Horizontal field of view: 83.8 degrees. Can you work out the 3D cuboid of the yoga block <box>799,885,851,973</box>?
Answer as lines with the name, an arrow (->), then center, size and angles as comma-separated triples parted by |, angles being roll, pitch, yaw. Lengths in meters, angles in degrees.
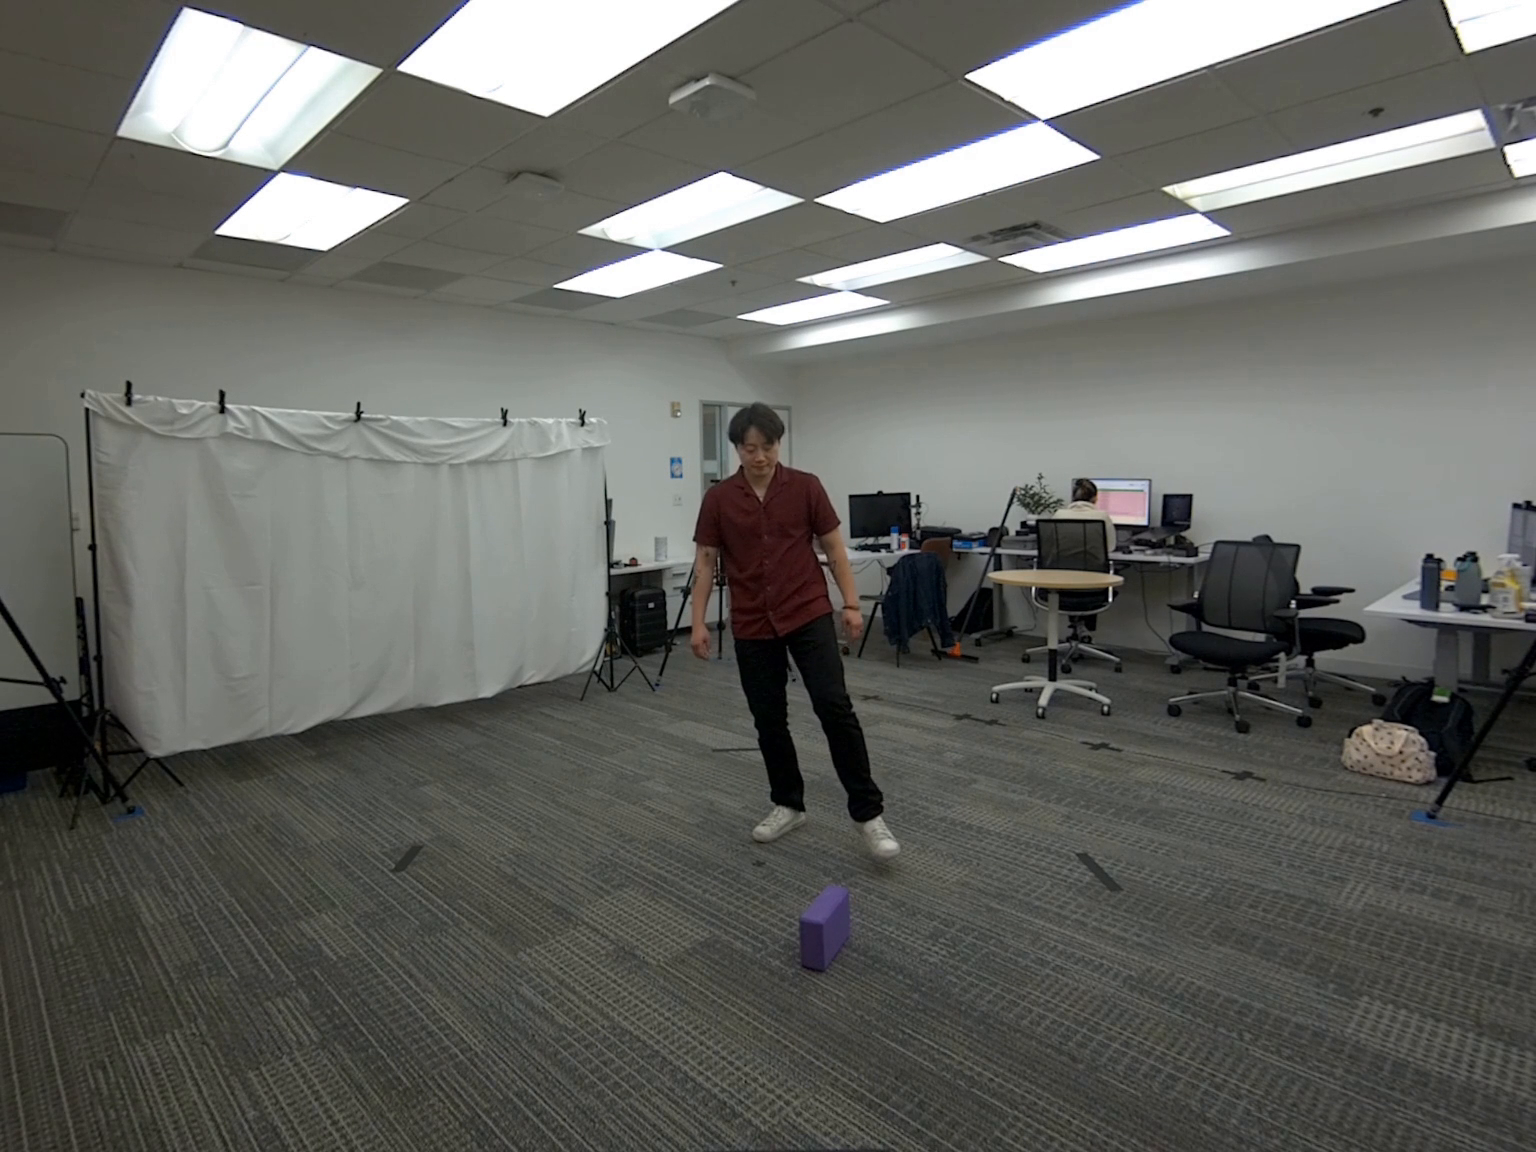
yoga block -> 0.176, 1.041, 2.520 | 0.078, 0.148, 0.225 | 1, 6, 26
